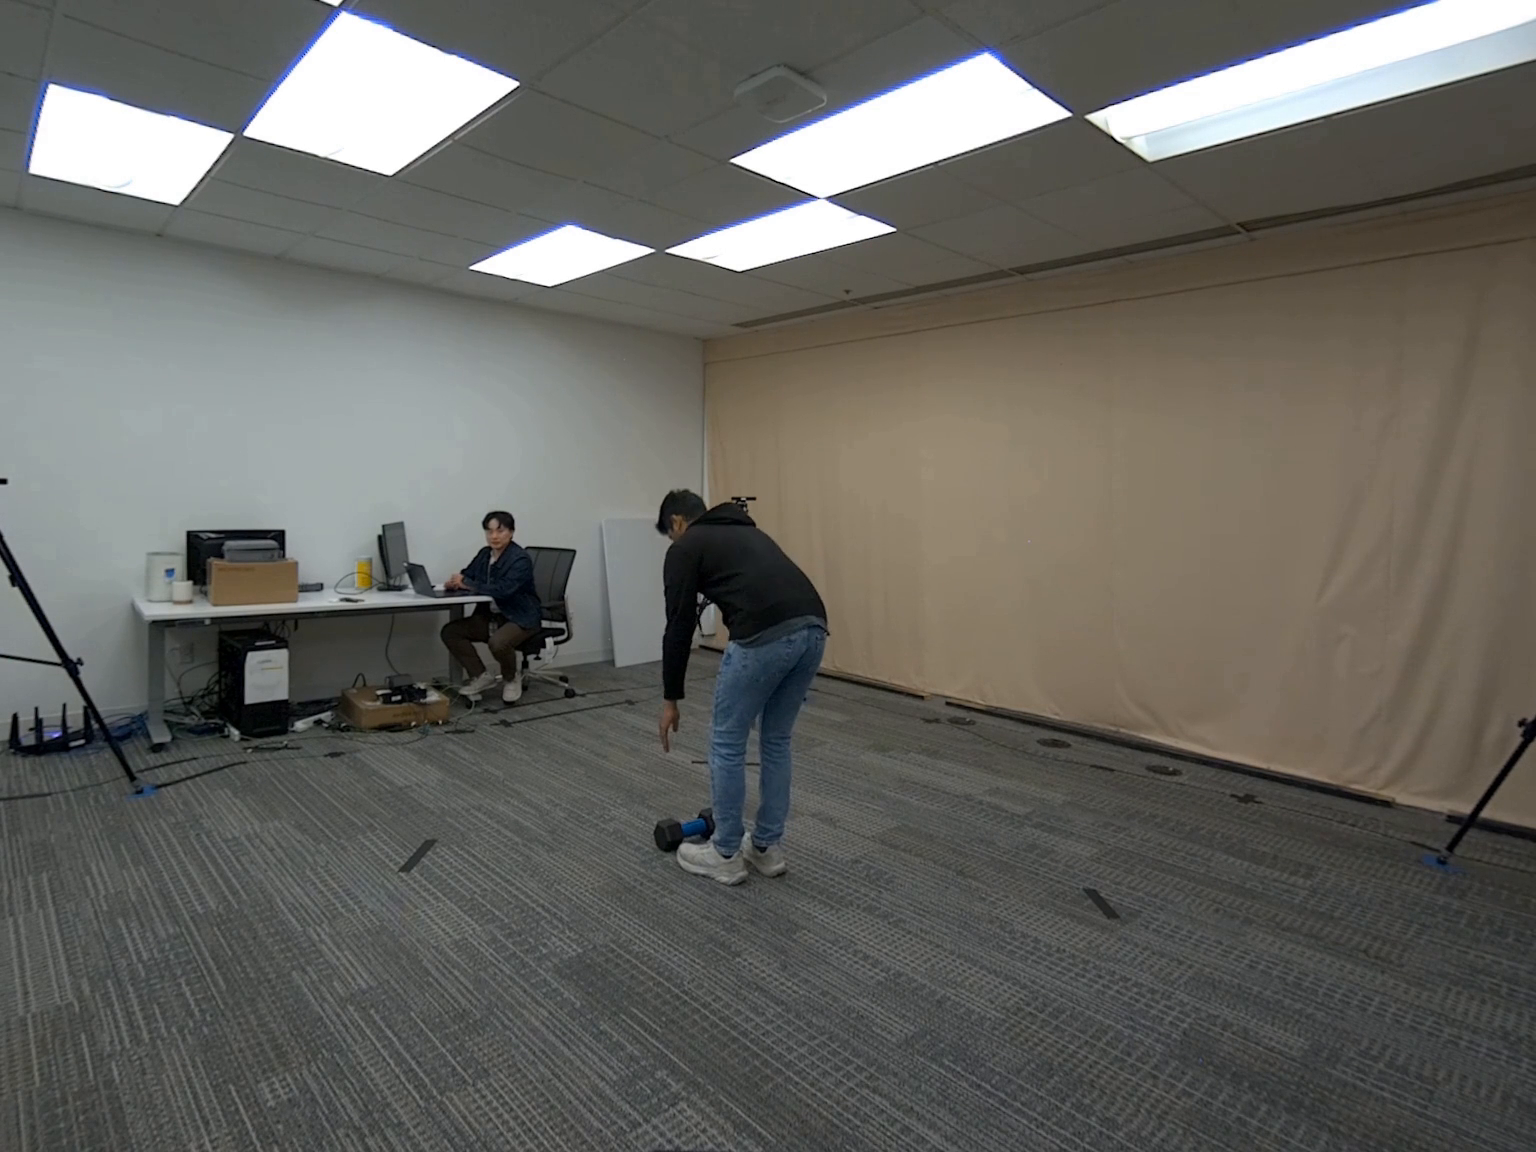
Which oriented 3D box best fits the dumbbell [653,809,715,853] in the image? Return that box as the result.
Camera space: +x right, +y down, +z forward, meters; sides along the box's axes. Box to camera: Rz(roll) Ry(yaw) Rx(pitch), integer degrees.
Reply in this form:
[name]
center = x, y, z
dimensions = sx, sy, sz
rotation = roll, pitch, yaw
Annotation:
[dumbbell]
center = -0.323, 1.022, 3.399
dimensions = 0.287, 0.125, 0.109
rotation = -2, -25, -40
